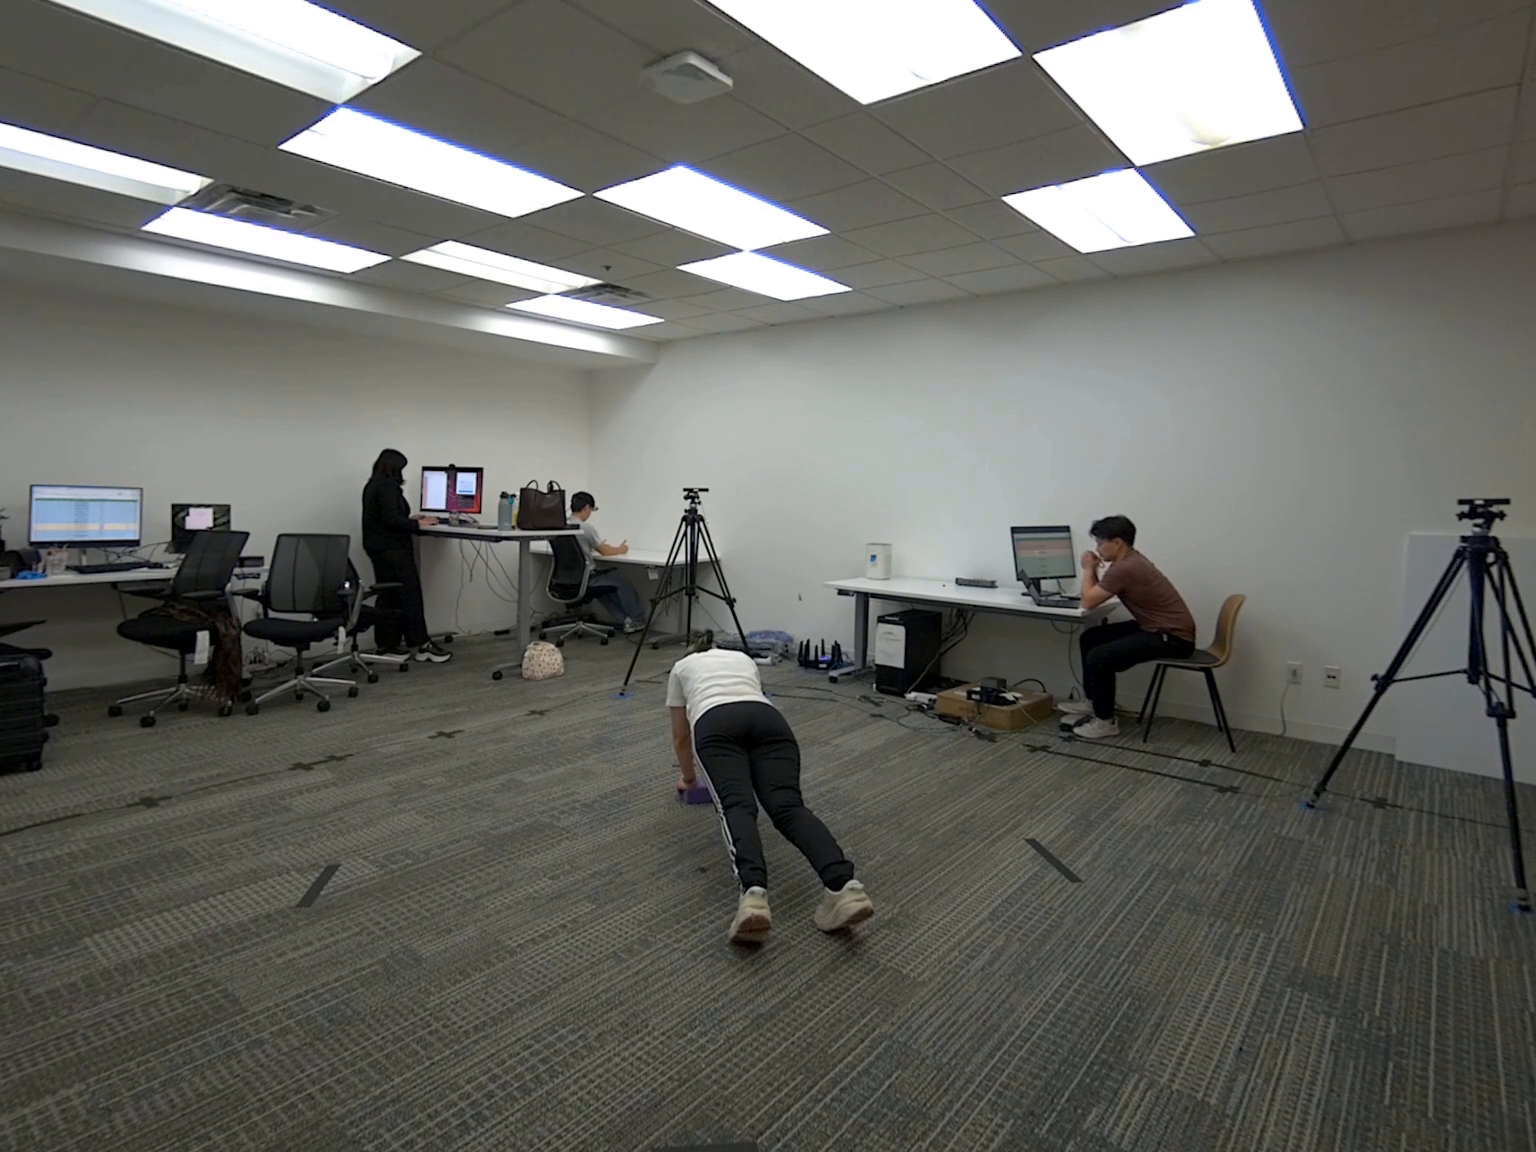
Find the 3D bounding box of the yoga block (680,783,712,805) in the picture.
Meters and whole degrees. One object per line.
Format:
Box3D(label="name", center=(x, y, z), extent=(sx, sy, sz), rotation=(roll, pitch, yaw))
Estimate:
Box3D(label="yoga block", center=(-0.276, 0.957, 3.837), extent=(0.226, 0.076, 0.152), rotation=(-1, 5, -14))
